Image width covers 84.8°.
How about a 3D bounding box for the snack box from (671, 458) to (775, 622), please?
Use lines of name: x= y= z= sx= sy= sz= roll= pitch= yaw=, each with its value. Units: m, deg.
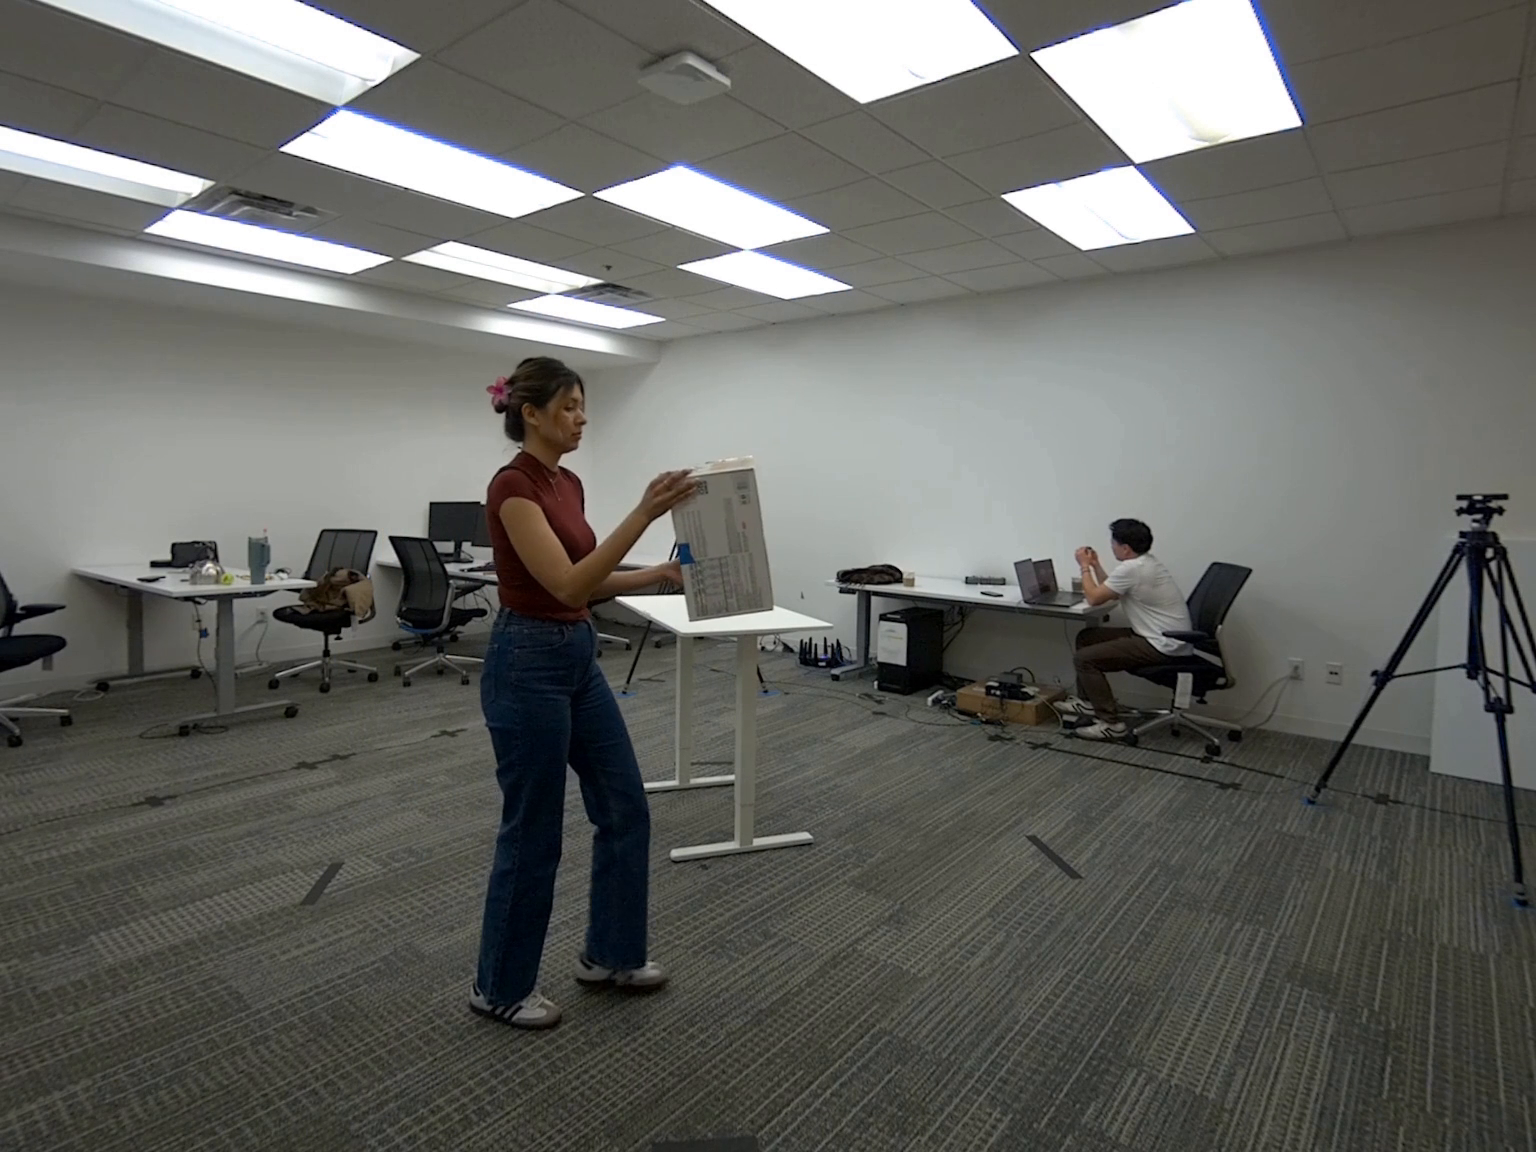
snack box: x=-0.109 y=-0.109 z=2.145 sx=0.206 sy=0.336 sz=0.410 roll=-8 pitch=11 yaw=-1
